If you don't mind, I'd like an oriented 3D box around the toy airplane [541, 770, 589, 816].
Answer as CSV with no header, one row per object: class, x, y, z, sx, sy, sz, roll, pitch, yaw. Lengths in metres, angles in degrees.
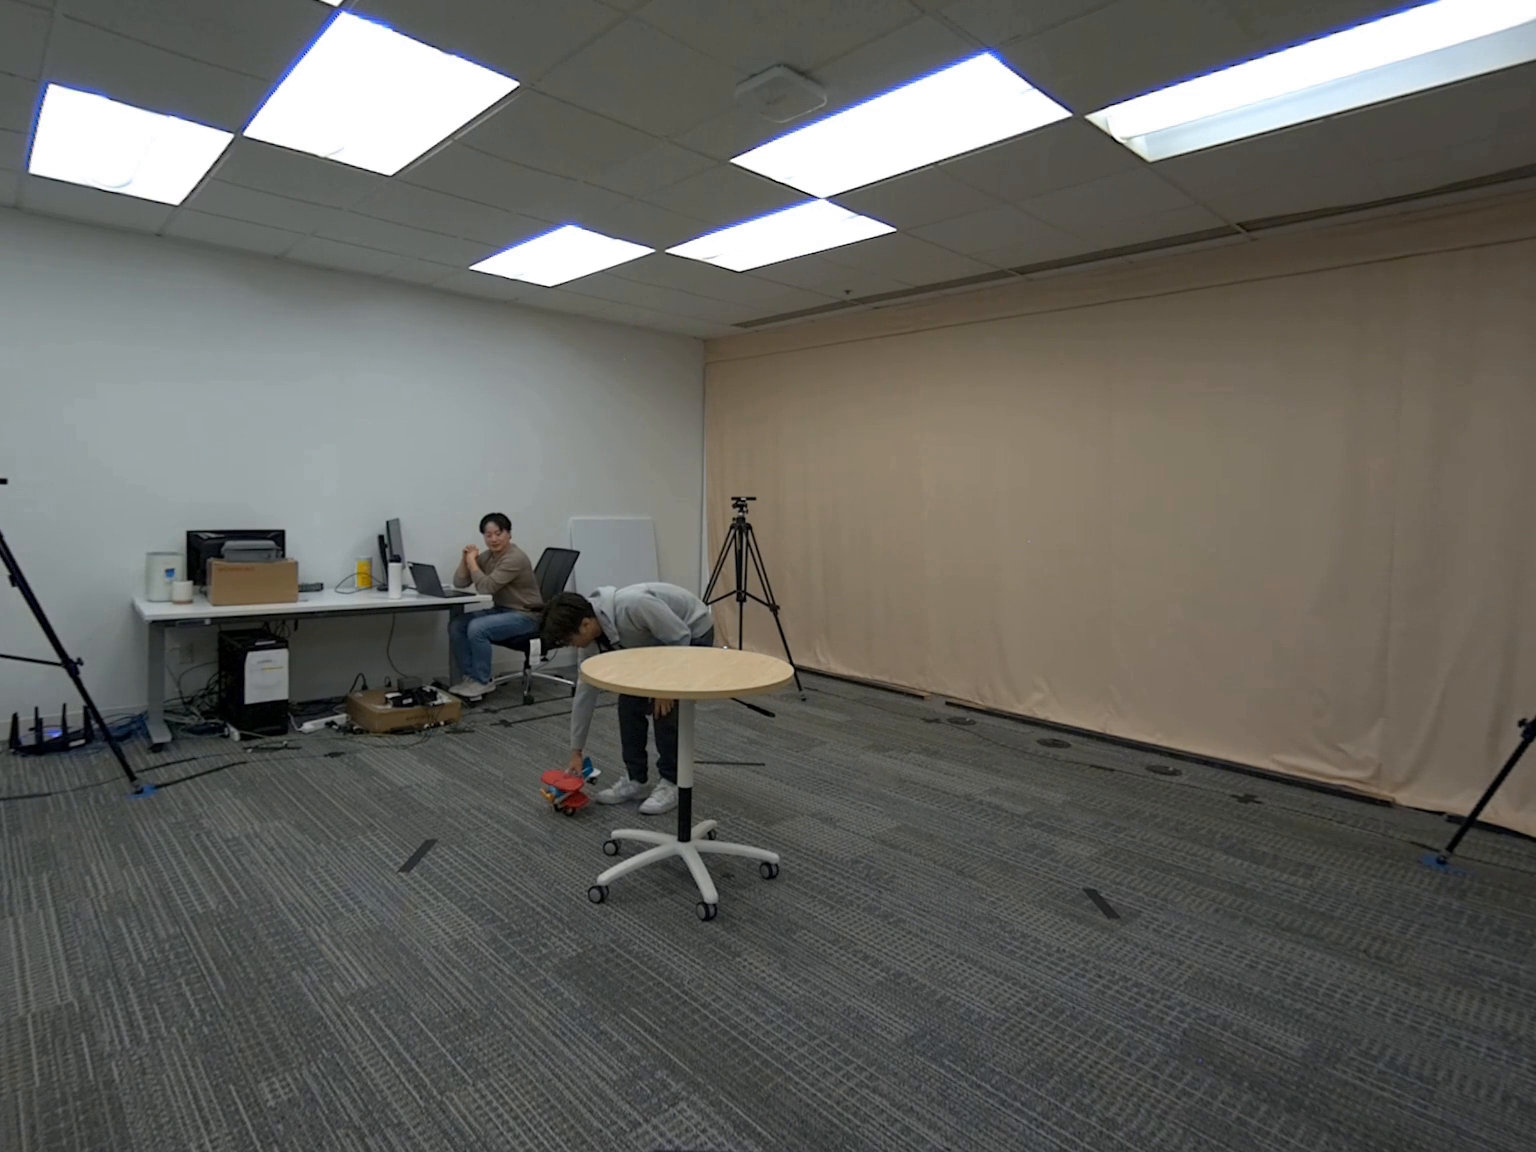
toy airplane,-0.880,0.924,3.717,0.253,0.153,0.263,-13,29,16
